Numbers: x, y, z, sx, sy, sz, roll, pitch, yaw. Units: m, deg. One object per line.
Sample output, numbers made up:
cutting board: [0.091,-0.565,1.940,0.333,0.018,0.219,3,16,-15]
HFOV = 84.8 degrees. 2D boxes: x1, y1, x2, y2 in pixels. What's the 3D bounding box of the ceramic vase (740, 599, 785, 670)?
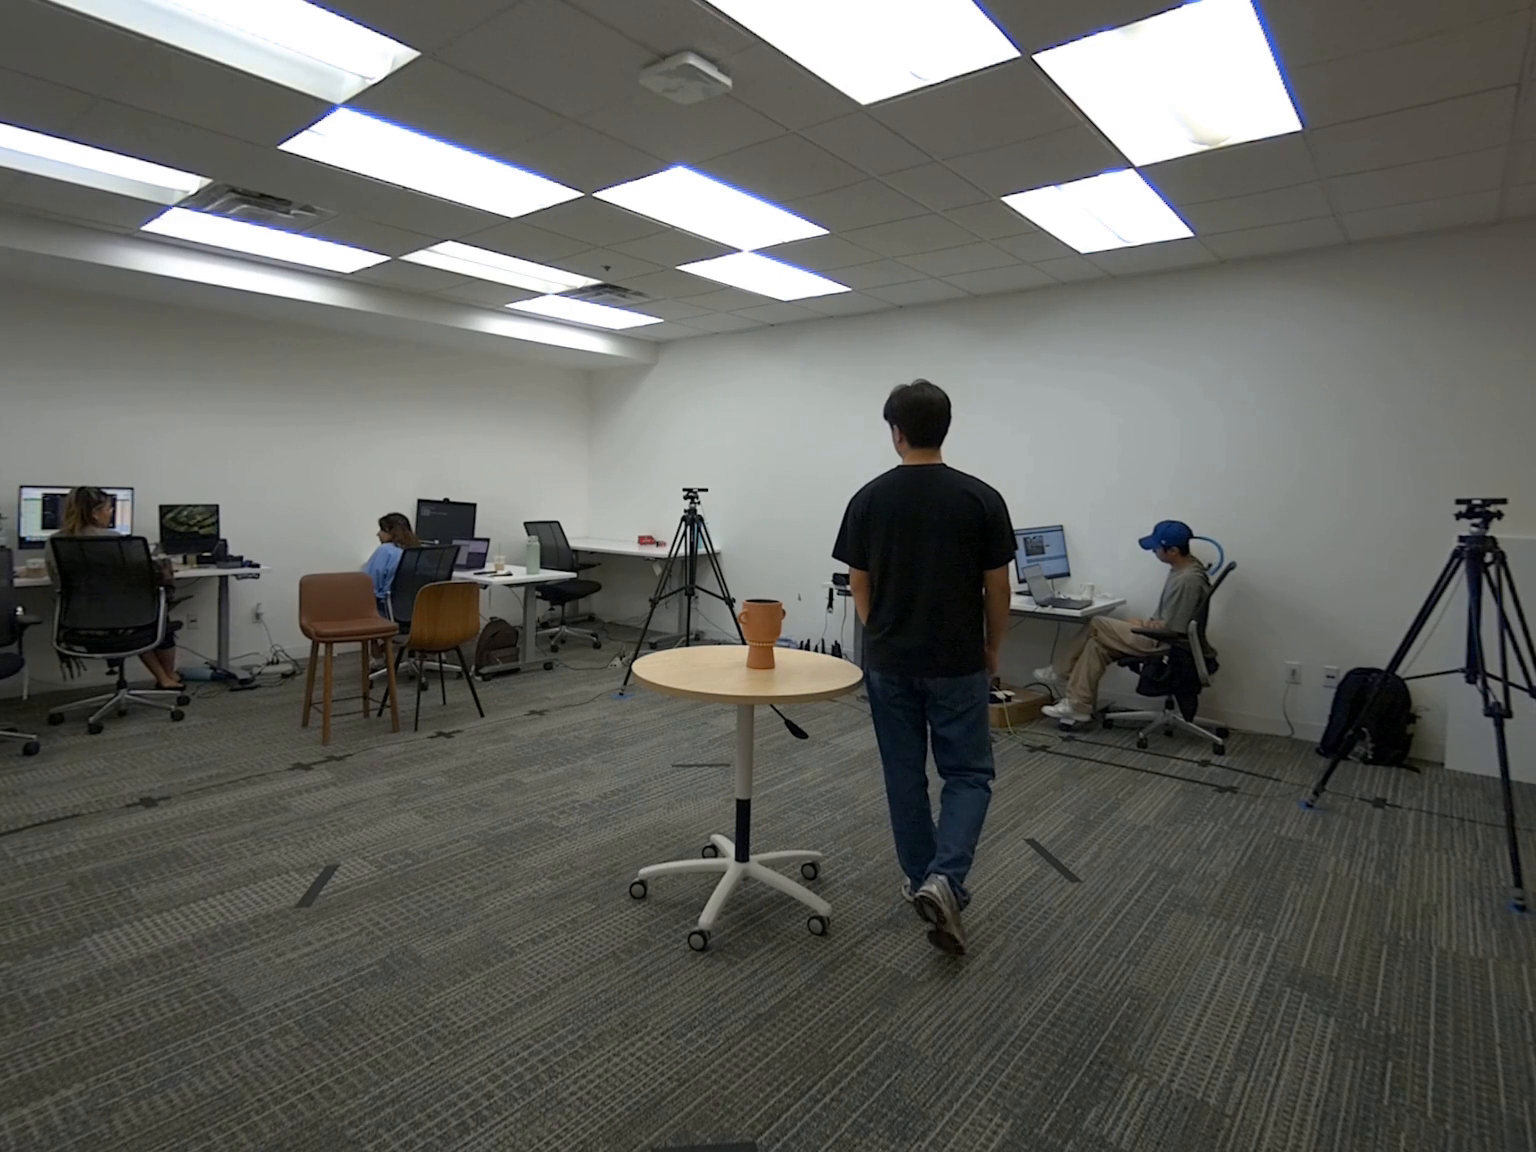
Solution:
ceramic vase: [-0.028,0.193,2.857,0.160,0.219,0.134,2,3,4]
